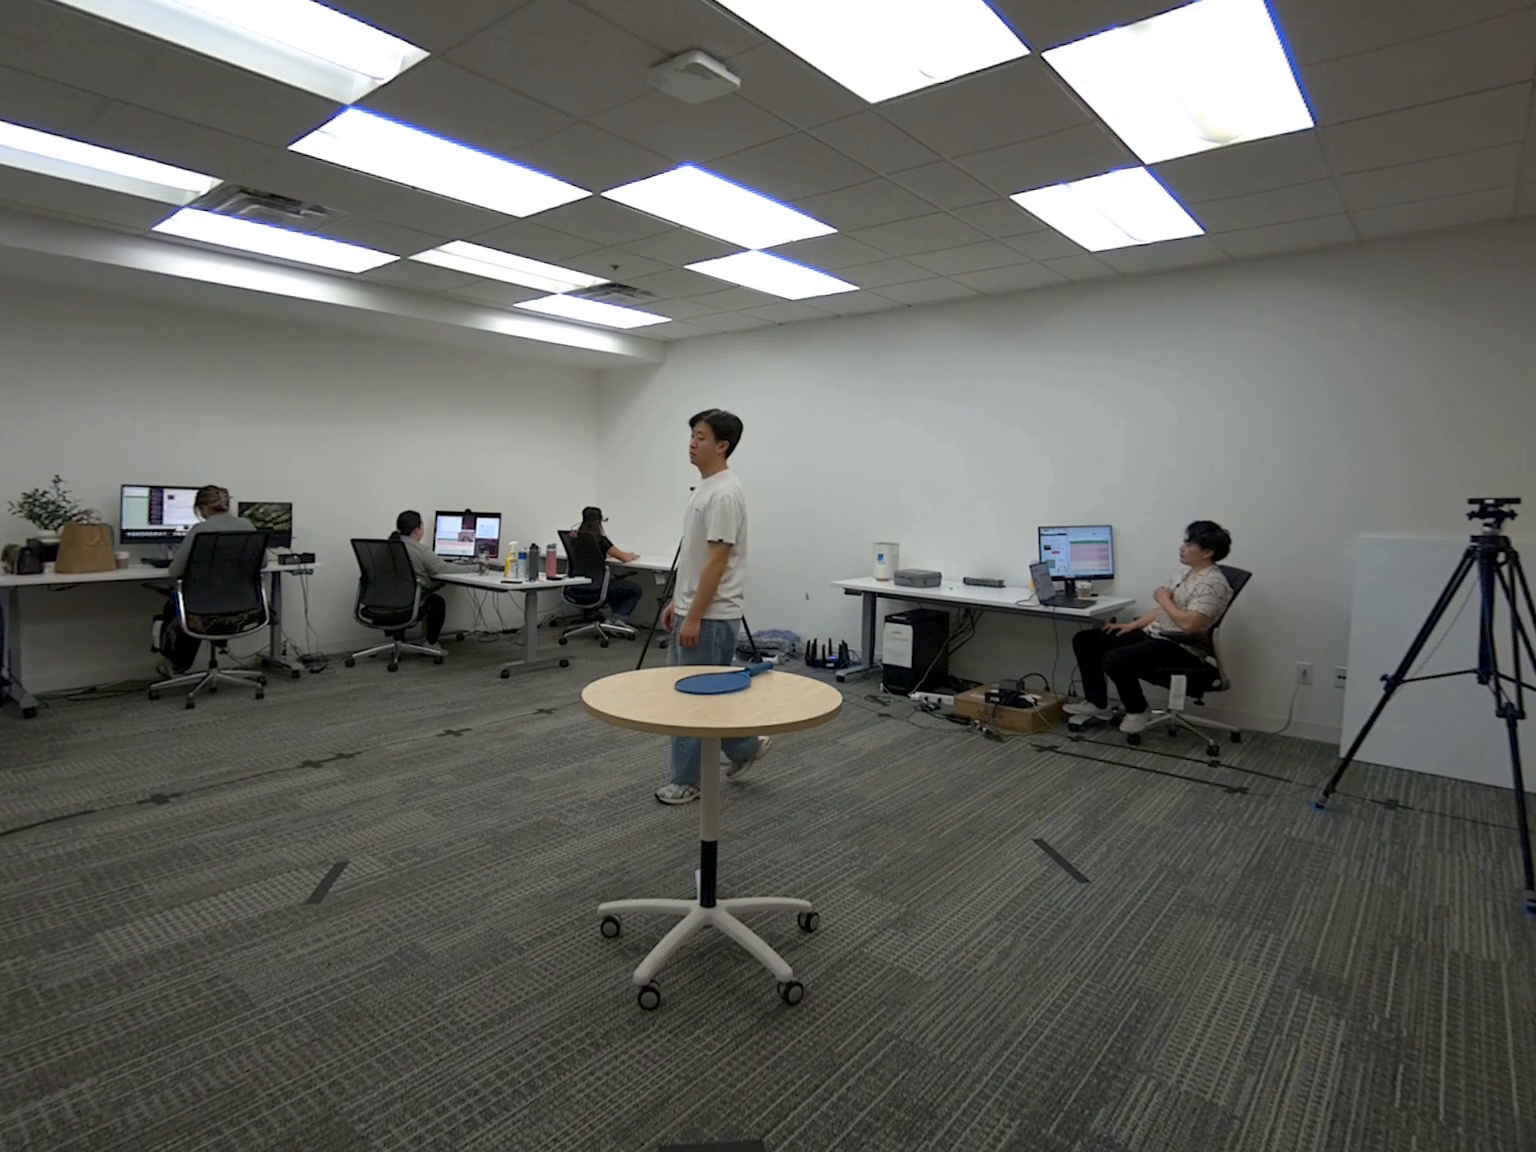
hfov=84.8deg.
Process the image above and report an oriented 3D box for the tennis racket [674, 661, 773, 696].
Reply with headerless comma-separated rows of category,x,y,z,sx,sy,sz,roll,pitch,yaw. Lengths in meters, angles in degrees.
tennis racket,-0.122,0.319,2.667,0.221,0.031,0.421,6,9,38
